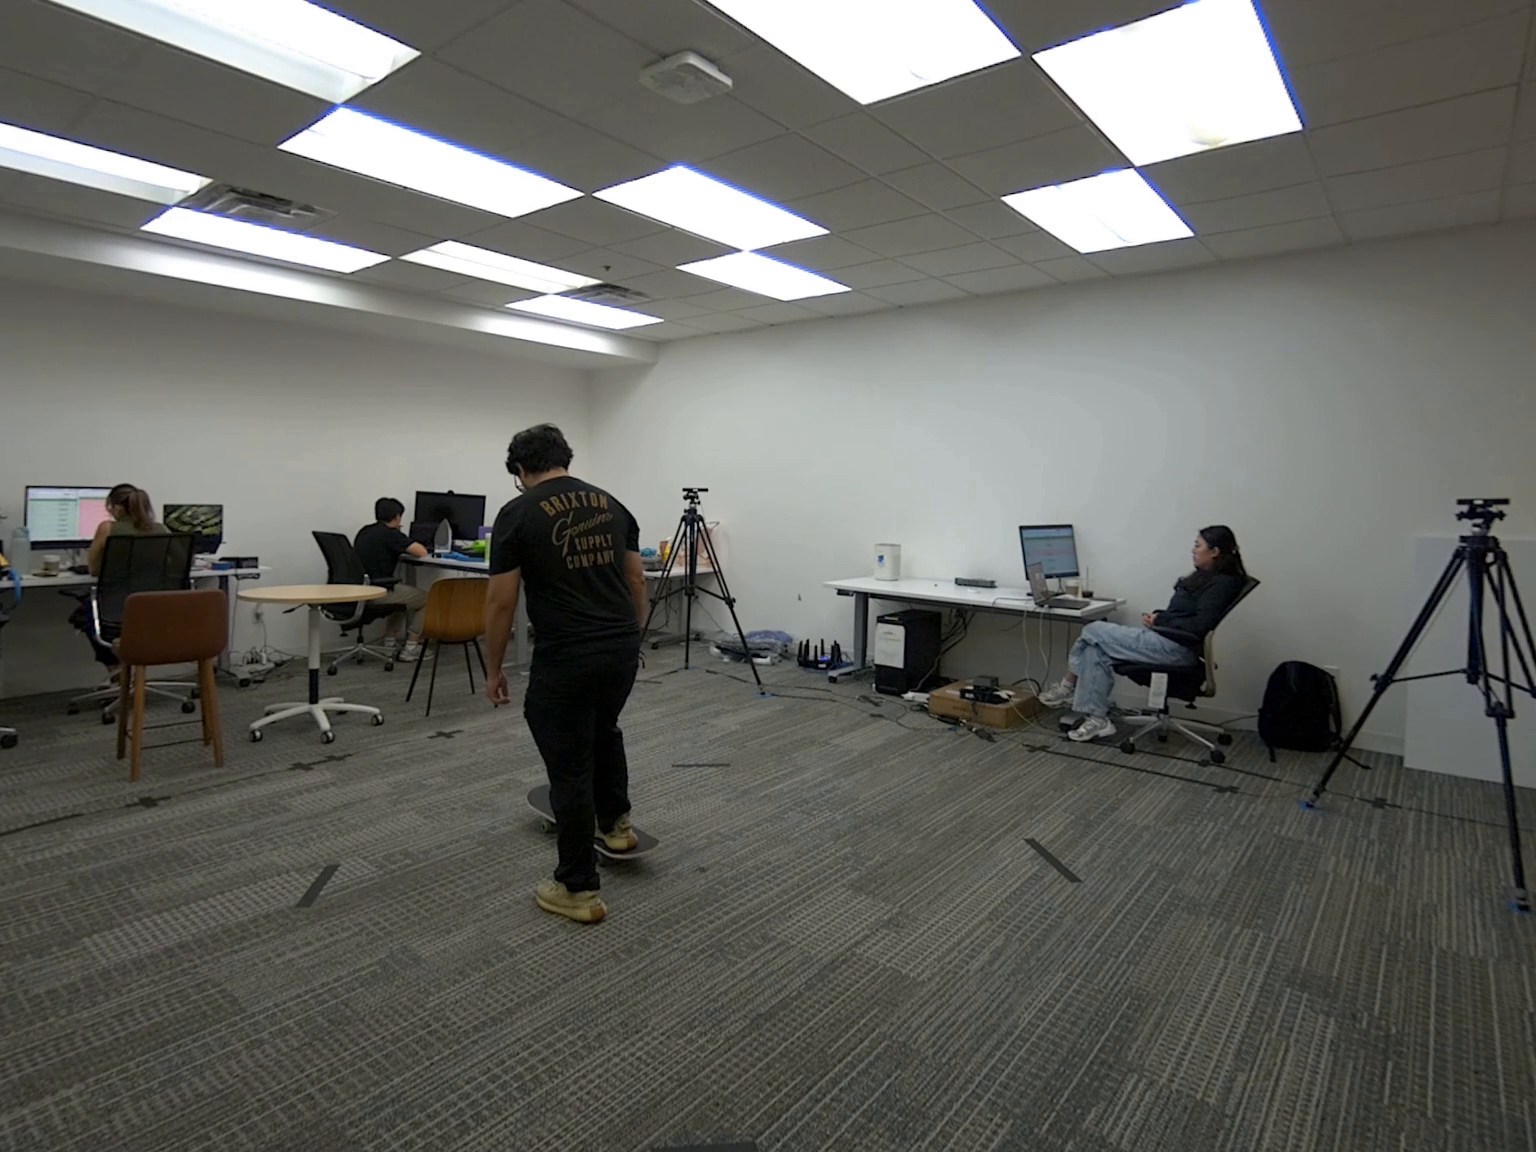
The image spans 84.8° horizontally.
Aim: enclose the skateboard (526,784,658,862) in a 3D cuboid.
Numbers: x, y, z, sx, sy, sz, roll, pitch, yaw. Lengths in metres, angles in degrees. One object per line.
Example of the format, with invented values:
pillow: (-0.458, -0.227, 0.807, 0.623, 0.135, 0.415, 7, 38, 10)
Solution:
skateboard: (-0.711, 0.981, 3.312, 0.188, 0.109, 0.813, -9, 12, -42)
